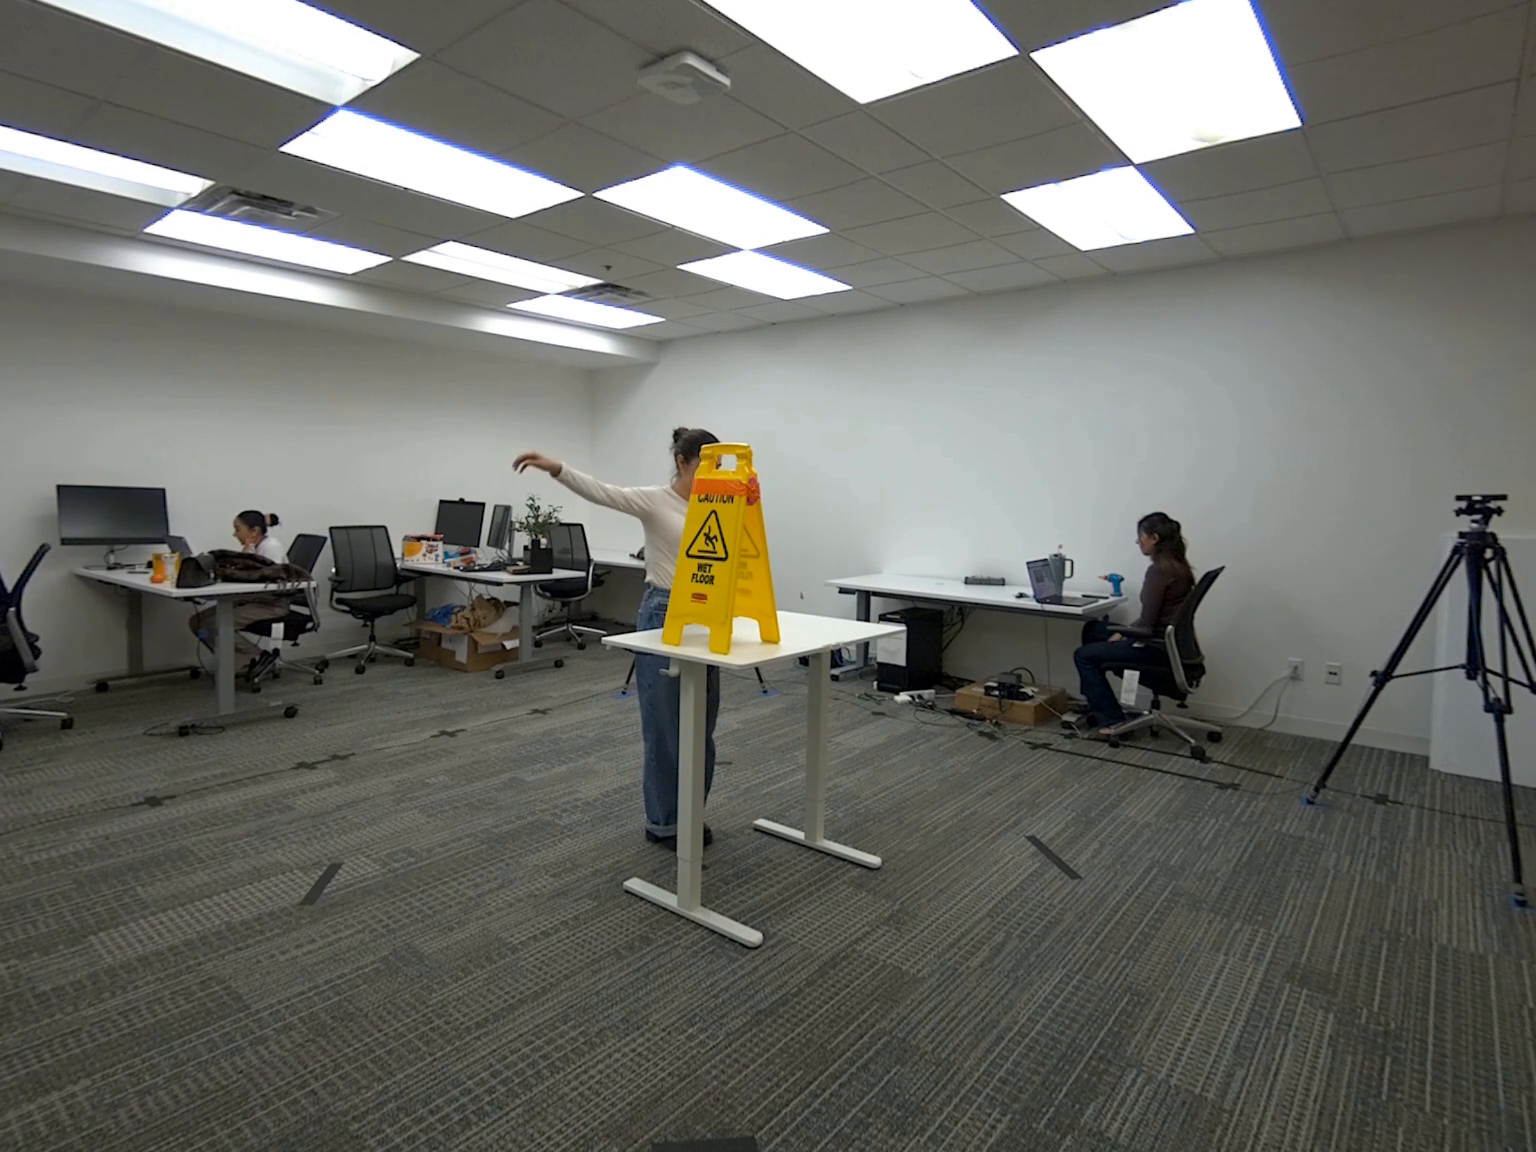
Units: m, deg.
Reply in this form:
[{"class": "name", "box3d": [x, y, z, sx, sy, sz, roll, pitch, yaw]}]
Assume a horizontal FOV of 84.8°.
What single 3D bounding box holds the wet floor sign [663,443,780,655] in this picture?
[{"class": "wet floor sign", "box3d": [-0.153, -0.104, 2.747, 0.291, 0.644, 0.281, 4, 5, 39]}]
